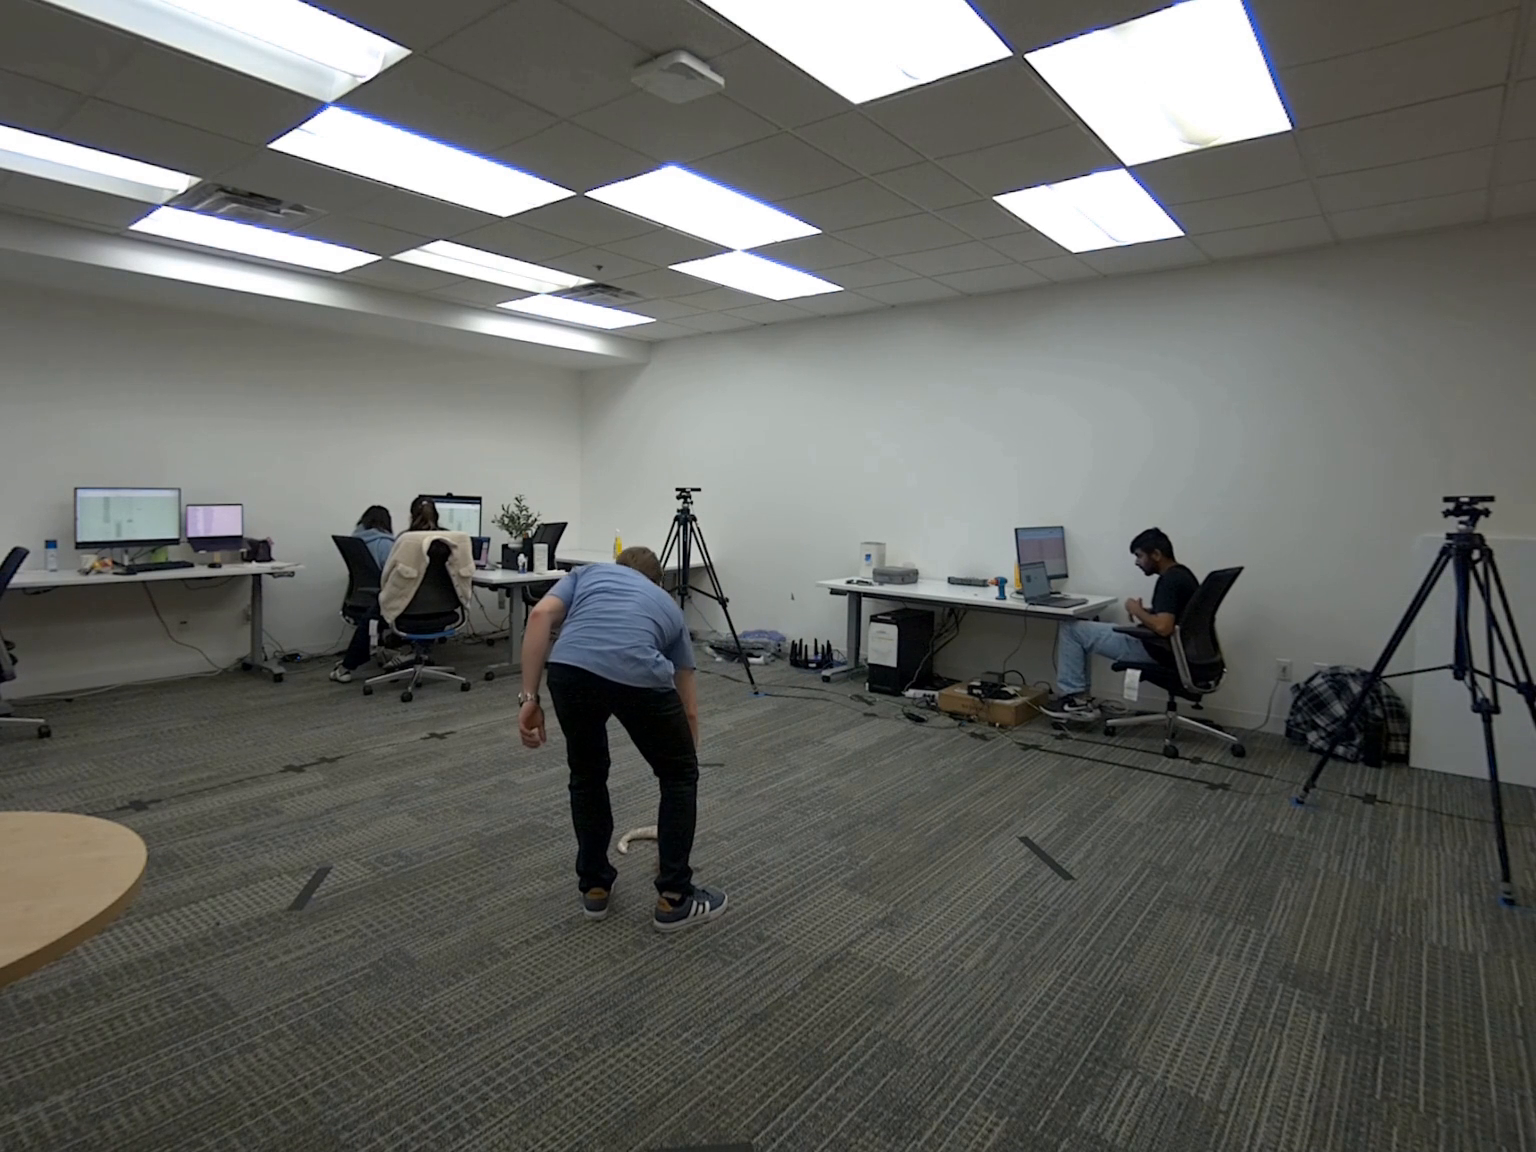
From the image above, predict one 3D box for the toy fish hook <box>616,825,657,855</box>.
[{"bbox_3d":[-0.449,1.040,3.170,0.223,0.048,0.513,-9,7,-10],"label":"toy fish hook"}]
